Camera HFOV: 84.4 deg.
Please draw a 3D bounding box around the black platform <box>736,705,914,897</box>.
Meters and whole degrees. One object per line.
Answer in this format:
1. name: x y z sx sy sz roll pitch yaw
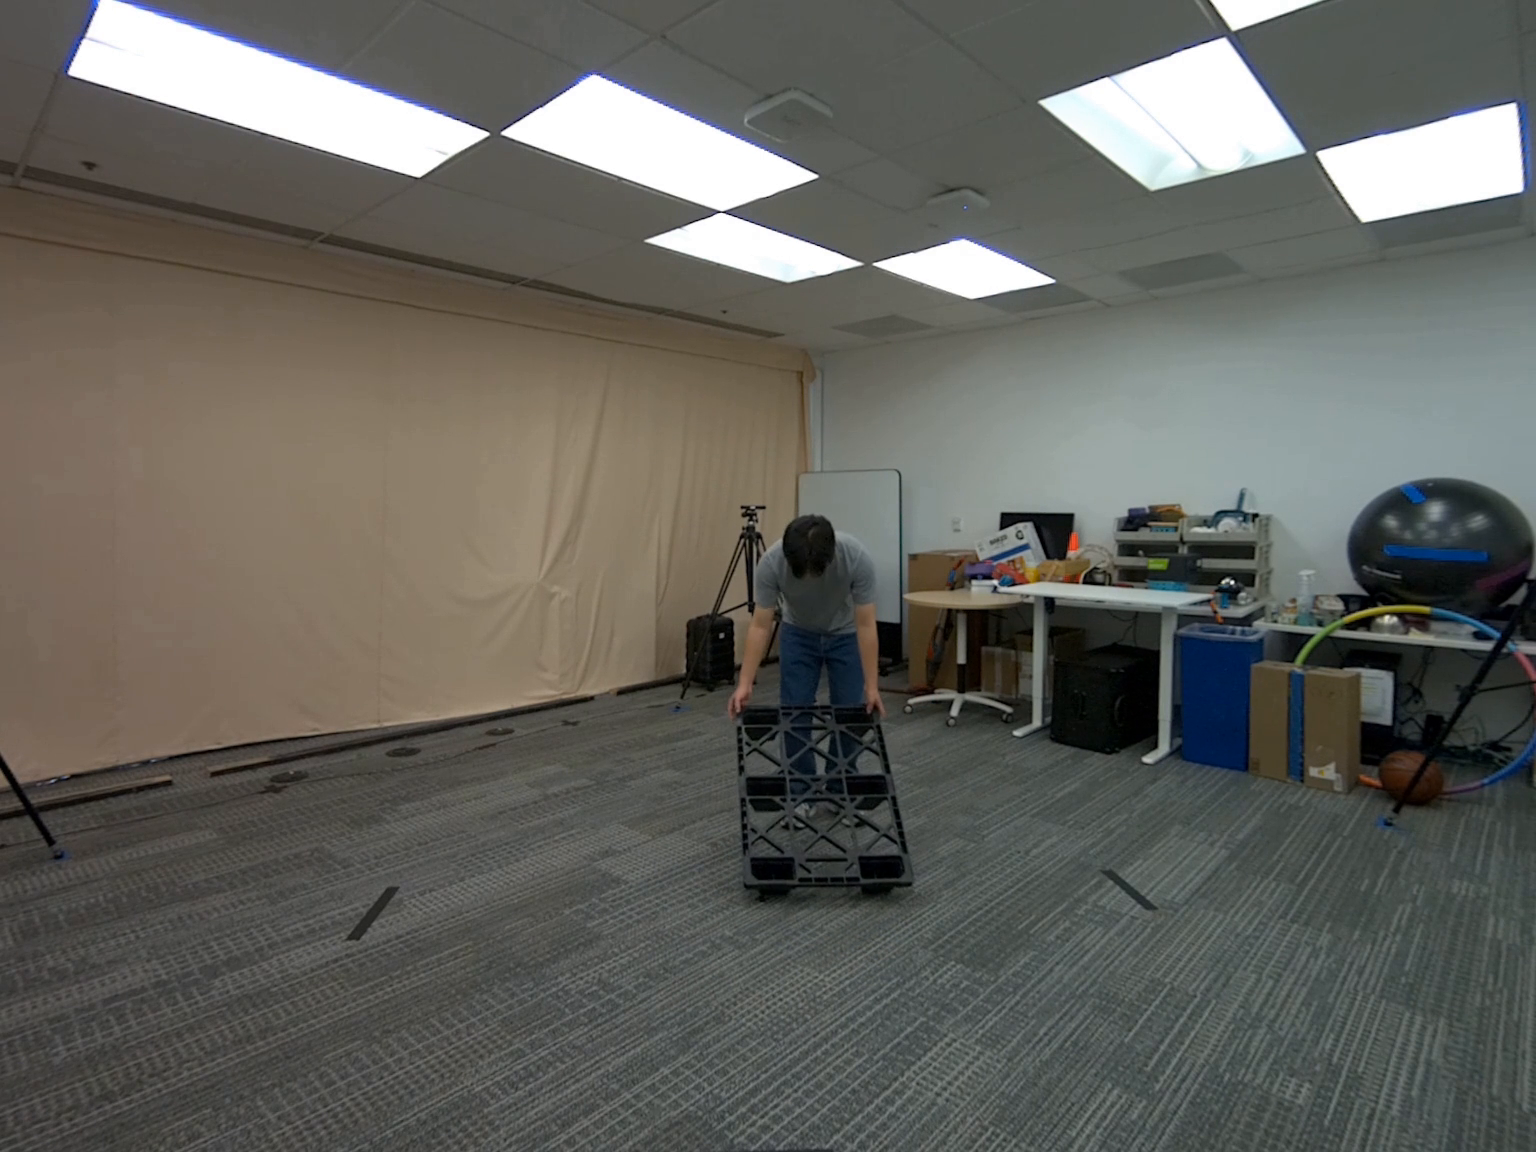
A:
1. black platform: 0.186 0.857 3.264 0.604 0.141 0.822 -2 40 -2
